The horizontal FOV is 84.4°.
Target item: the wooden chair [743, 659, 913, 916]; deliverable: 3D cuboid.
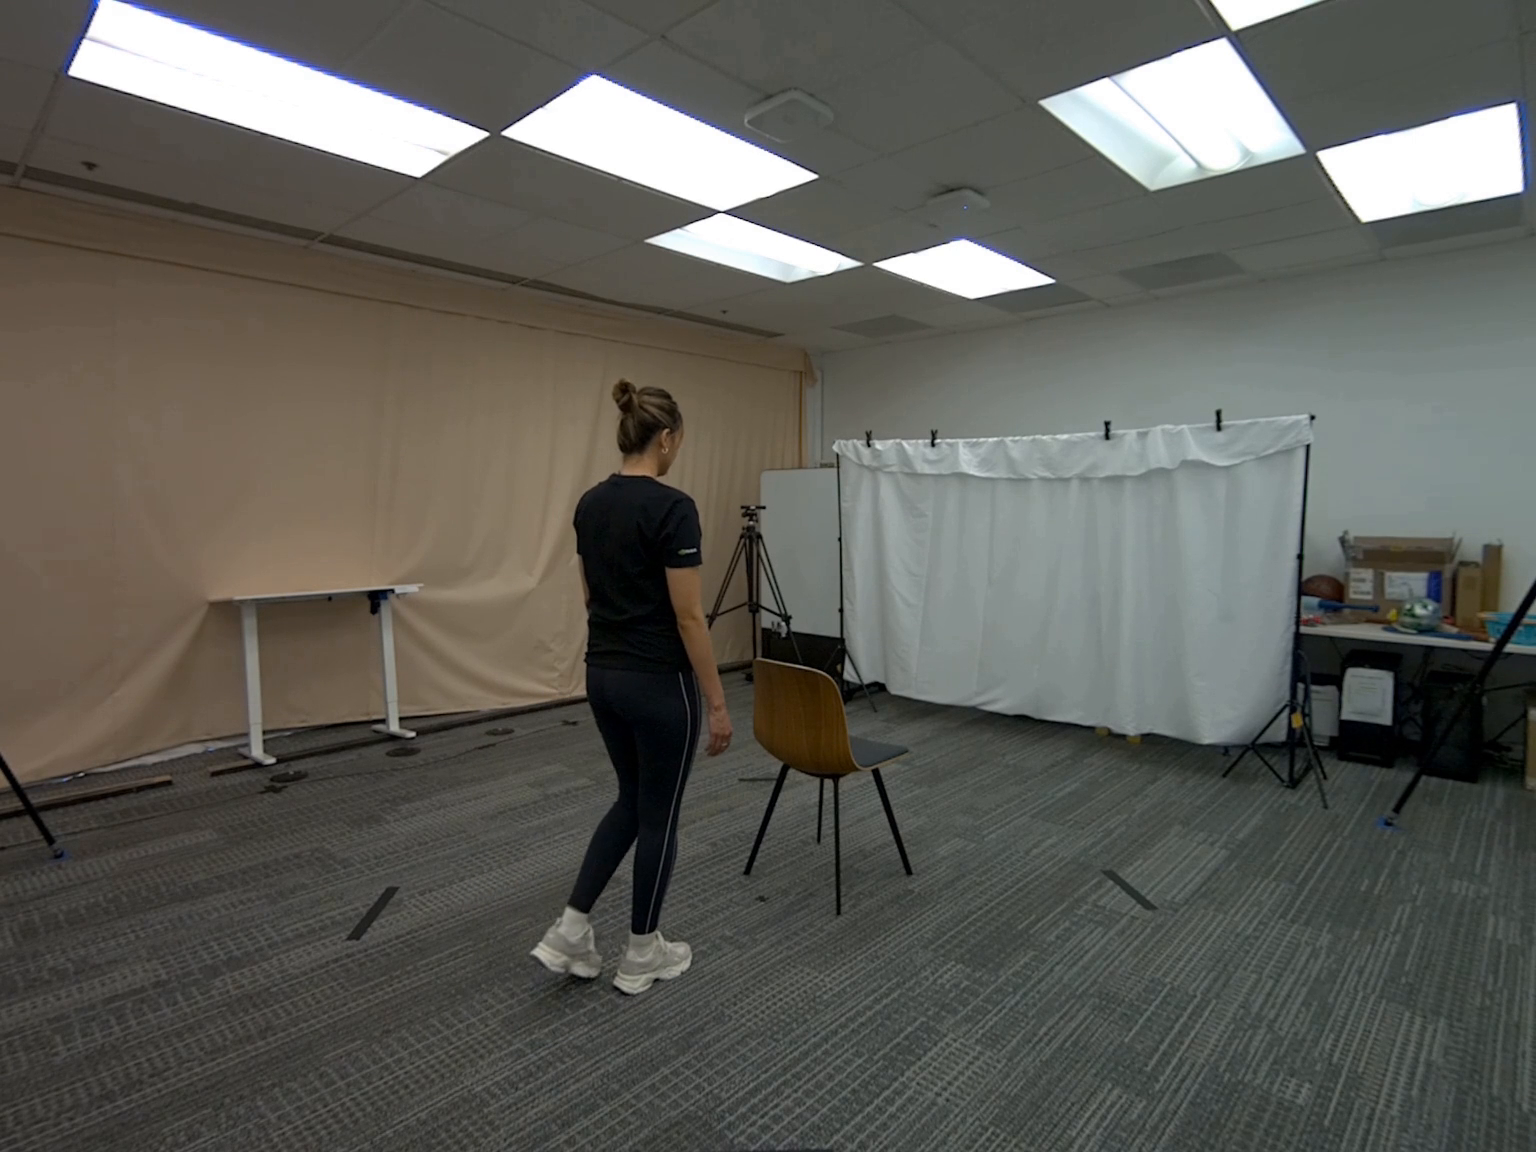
[{"bbox_3d":[0.234,0.700,3.151,0.494,0.873,0.508,3,9,44],"label":"wooden chair"}]
